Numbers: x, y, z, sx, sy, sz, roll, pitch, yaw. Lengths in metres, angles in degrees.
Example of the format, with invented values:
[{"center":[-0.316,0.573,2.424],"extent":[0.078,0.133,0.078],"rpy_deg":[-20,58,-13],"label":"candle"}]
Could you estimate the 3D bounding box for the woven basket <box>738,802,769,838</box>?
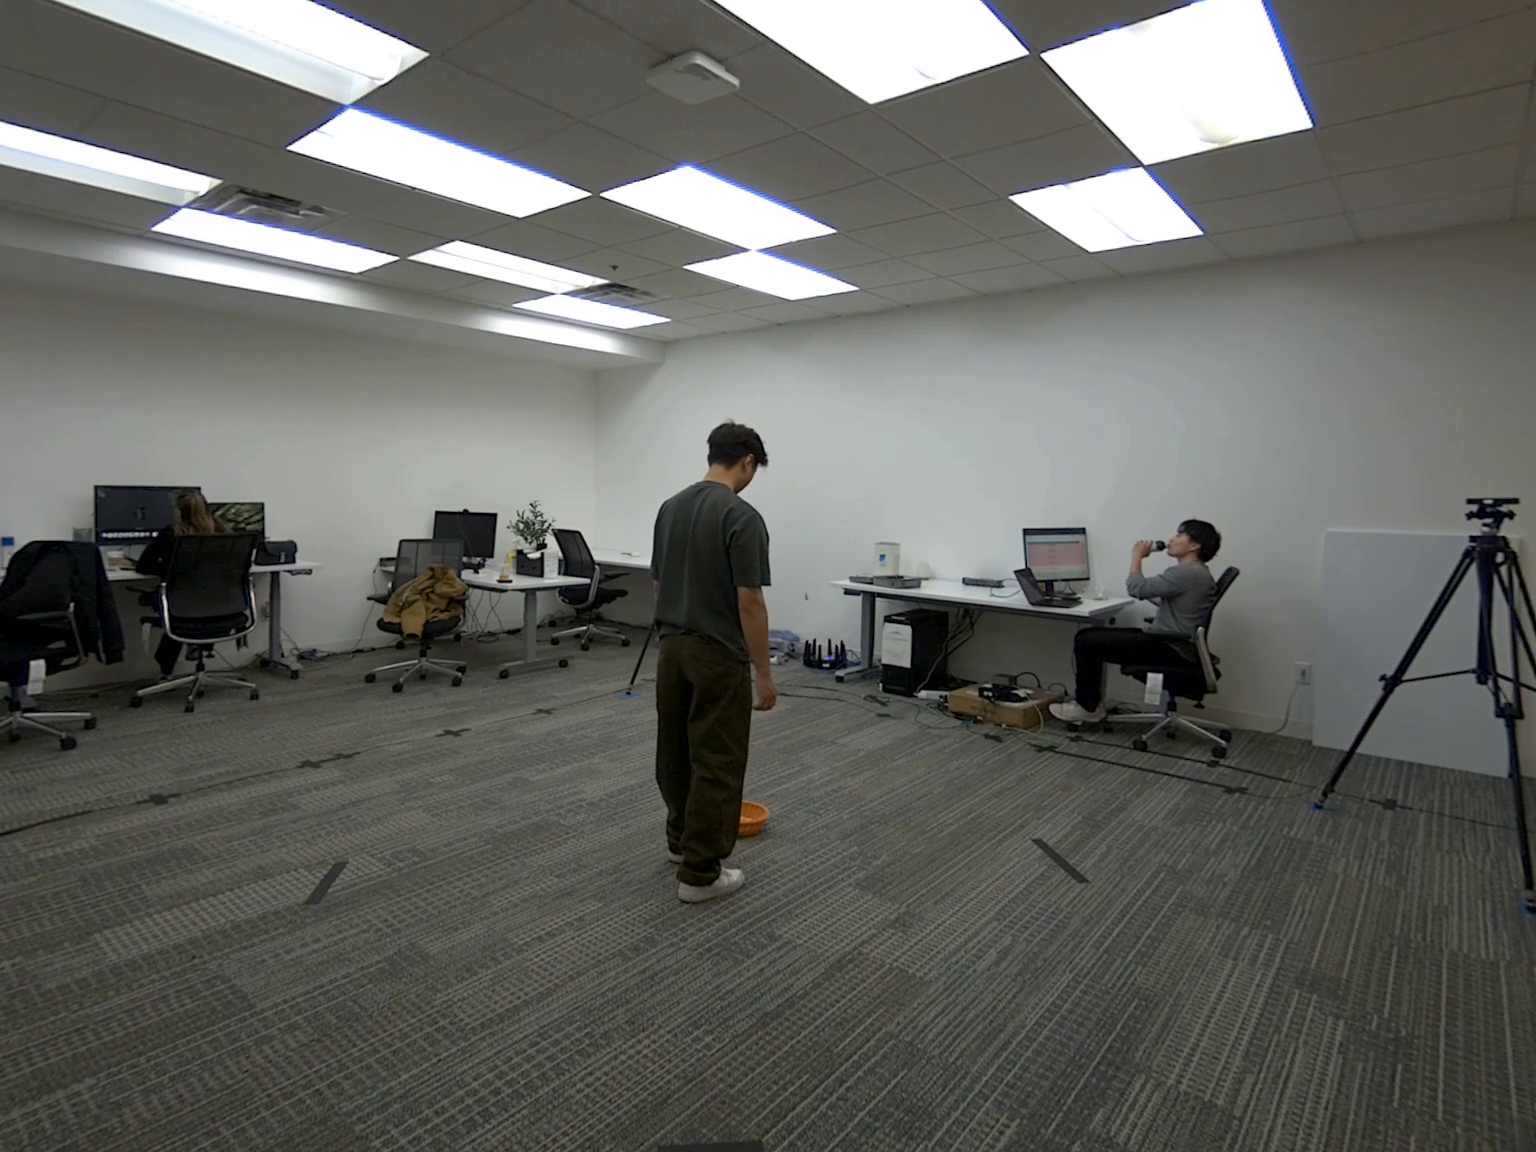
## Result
[{"center":[-0.177,0.987,3.491],"extent":[0.352,0.073,0.252],"rpy_deg":[1,5,3],"label":"woven basket"}]
